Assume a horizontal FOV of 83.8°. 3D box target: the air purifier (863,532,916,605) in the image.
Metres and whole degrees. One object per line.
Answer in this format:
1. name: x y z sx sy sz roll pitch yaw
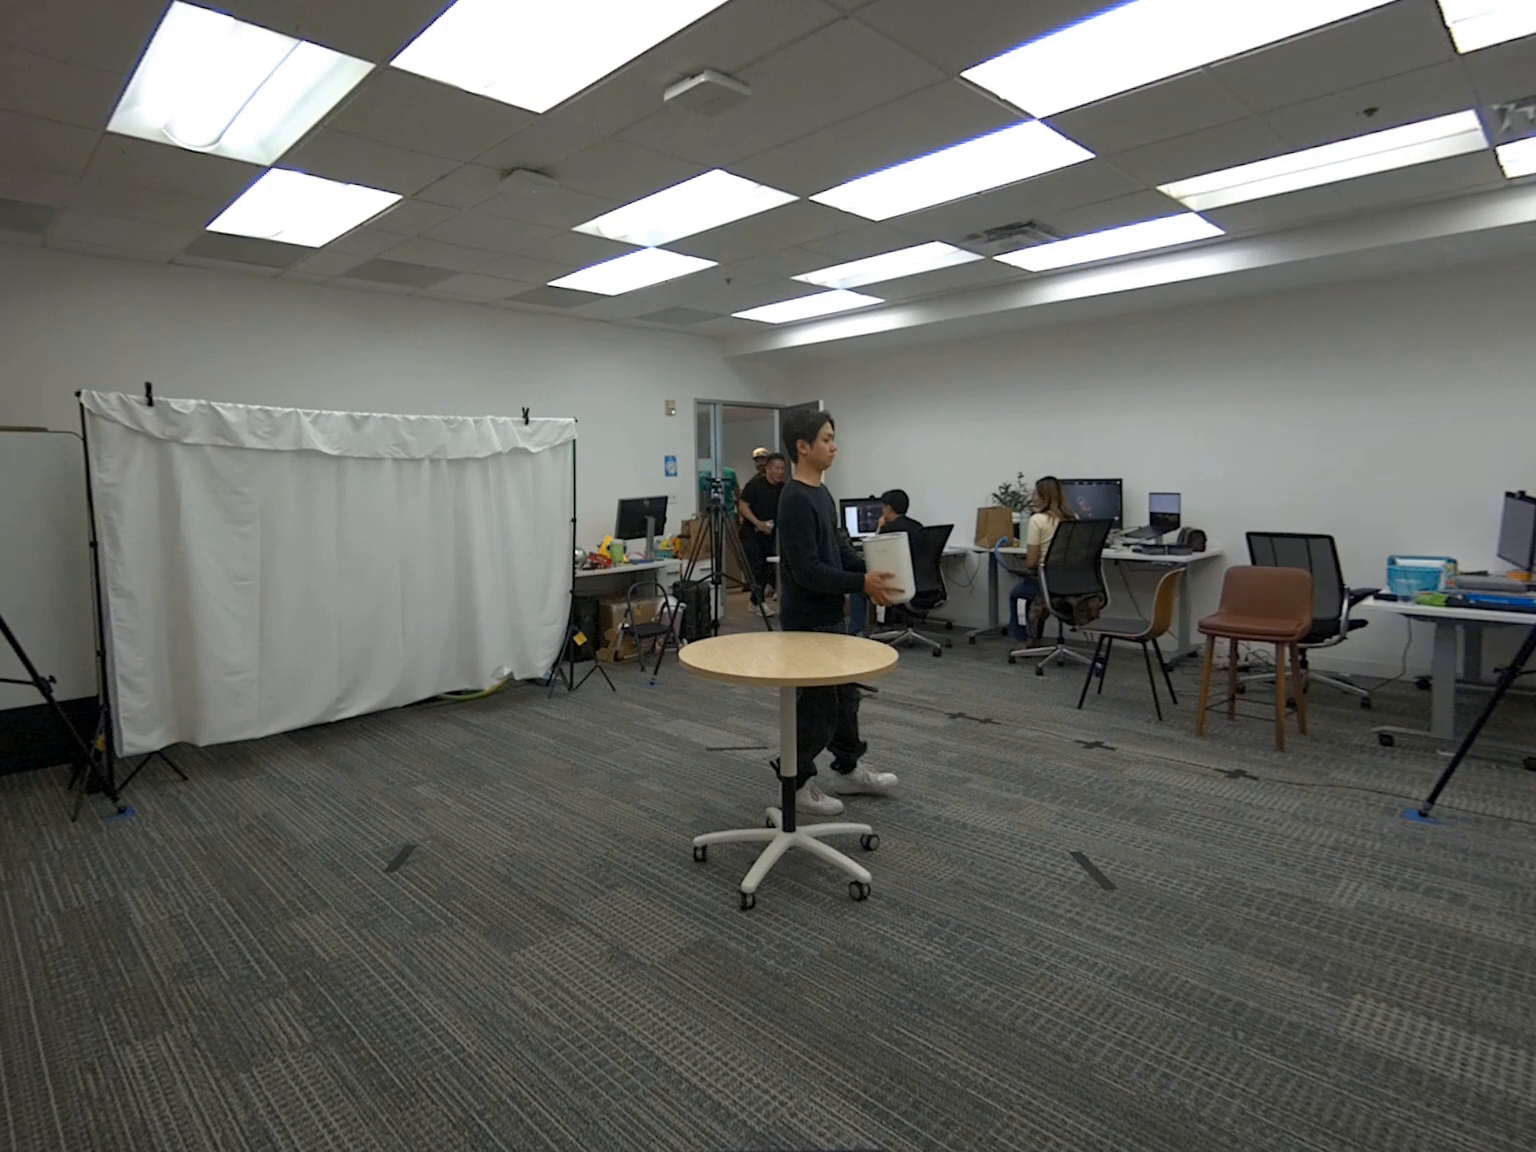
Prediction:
1. air purifier: 0.479 -0.030 3.429 0.174 0.264 0.170 -7 6 19
